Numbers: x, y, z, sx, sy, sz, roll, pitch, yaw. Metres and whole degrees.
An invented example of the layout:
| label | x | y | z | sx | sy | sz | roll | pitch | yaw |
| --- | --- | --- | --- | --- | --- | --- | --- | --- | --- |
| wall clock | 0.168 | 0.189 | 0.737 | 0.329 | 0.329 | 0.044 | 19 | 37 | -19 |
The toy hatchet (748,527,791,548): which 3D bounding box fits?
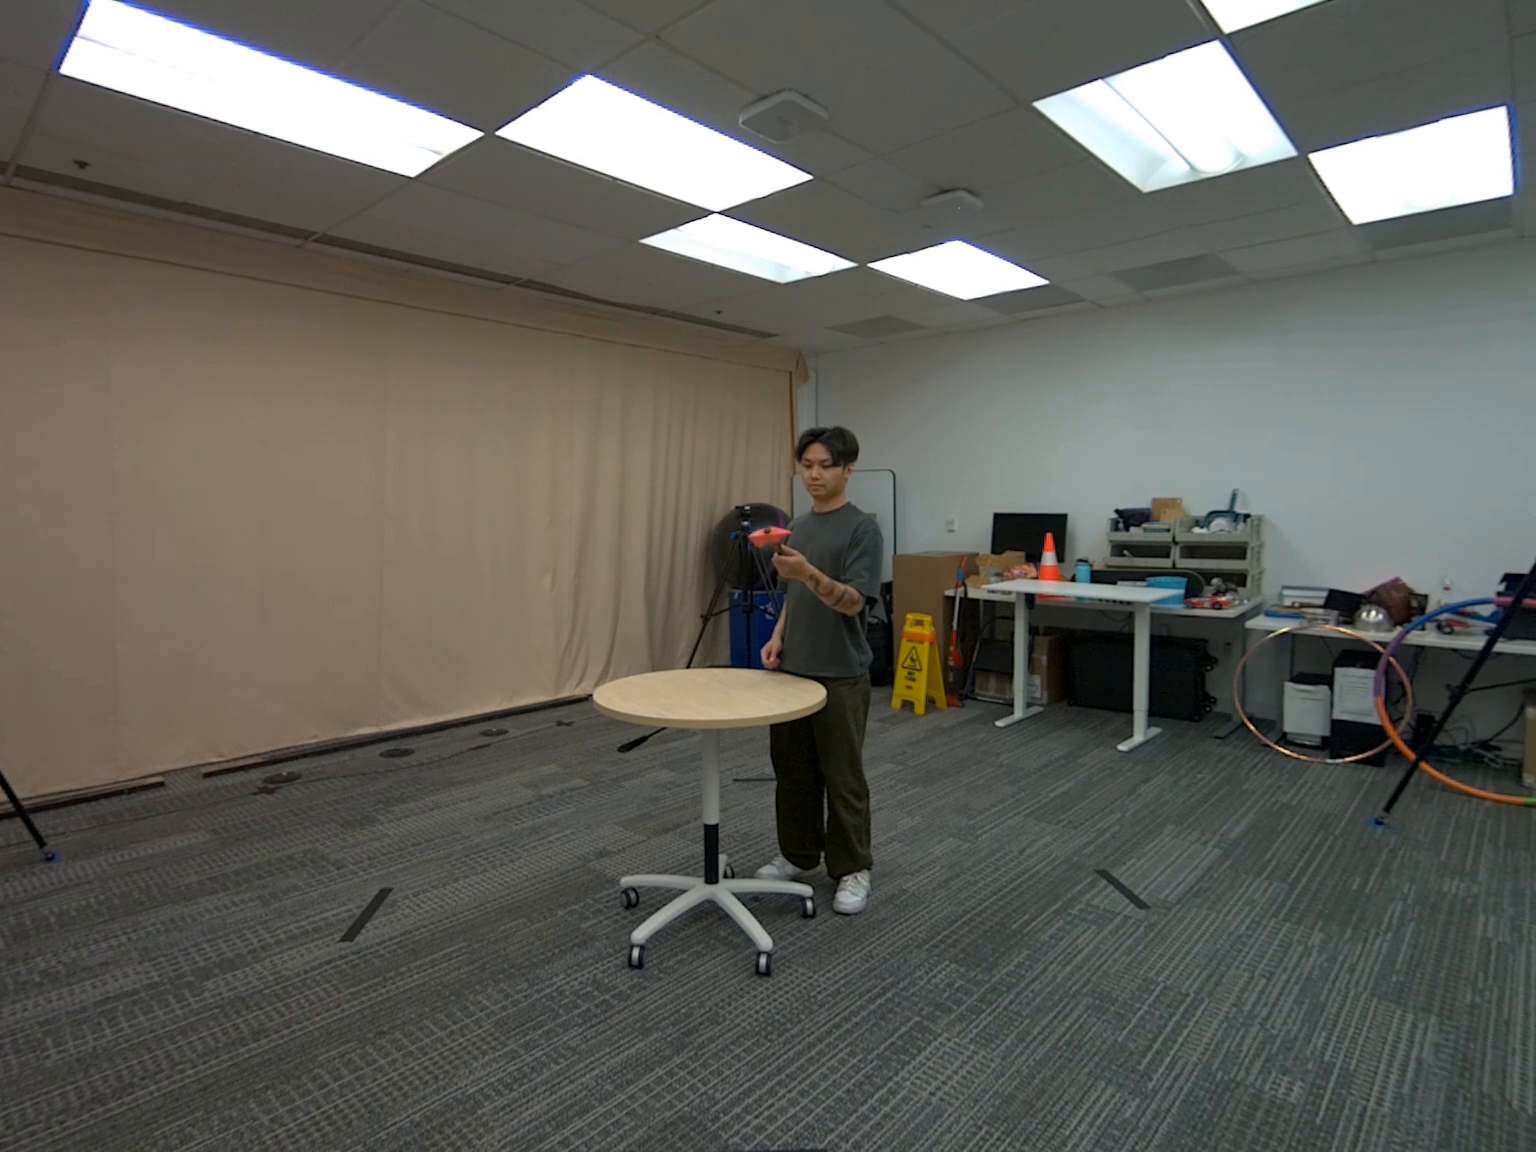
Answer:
| label | x | y | z | sx | sy | sz | roll | pitch | yaw |
| --- | --- | --- | --- | --- | --- | --- | --- | --- | --- |
| toy hatchet | 0.015 | -0.069 | 2.628 | 0.132 | 0.030 | 0.264 | 5 | -32 | 6 |
